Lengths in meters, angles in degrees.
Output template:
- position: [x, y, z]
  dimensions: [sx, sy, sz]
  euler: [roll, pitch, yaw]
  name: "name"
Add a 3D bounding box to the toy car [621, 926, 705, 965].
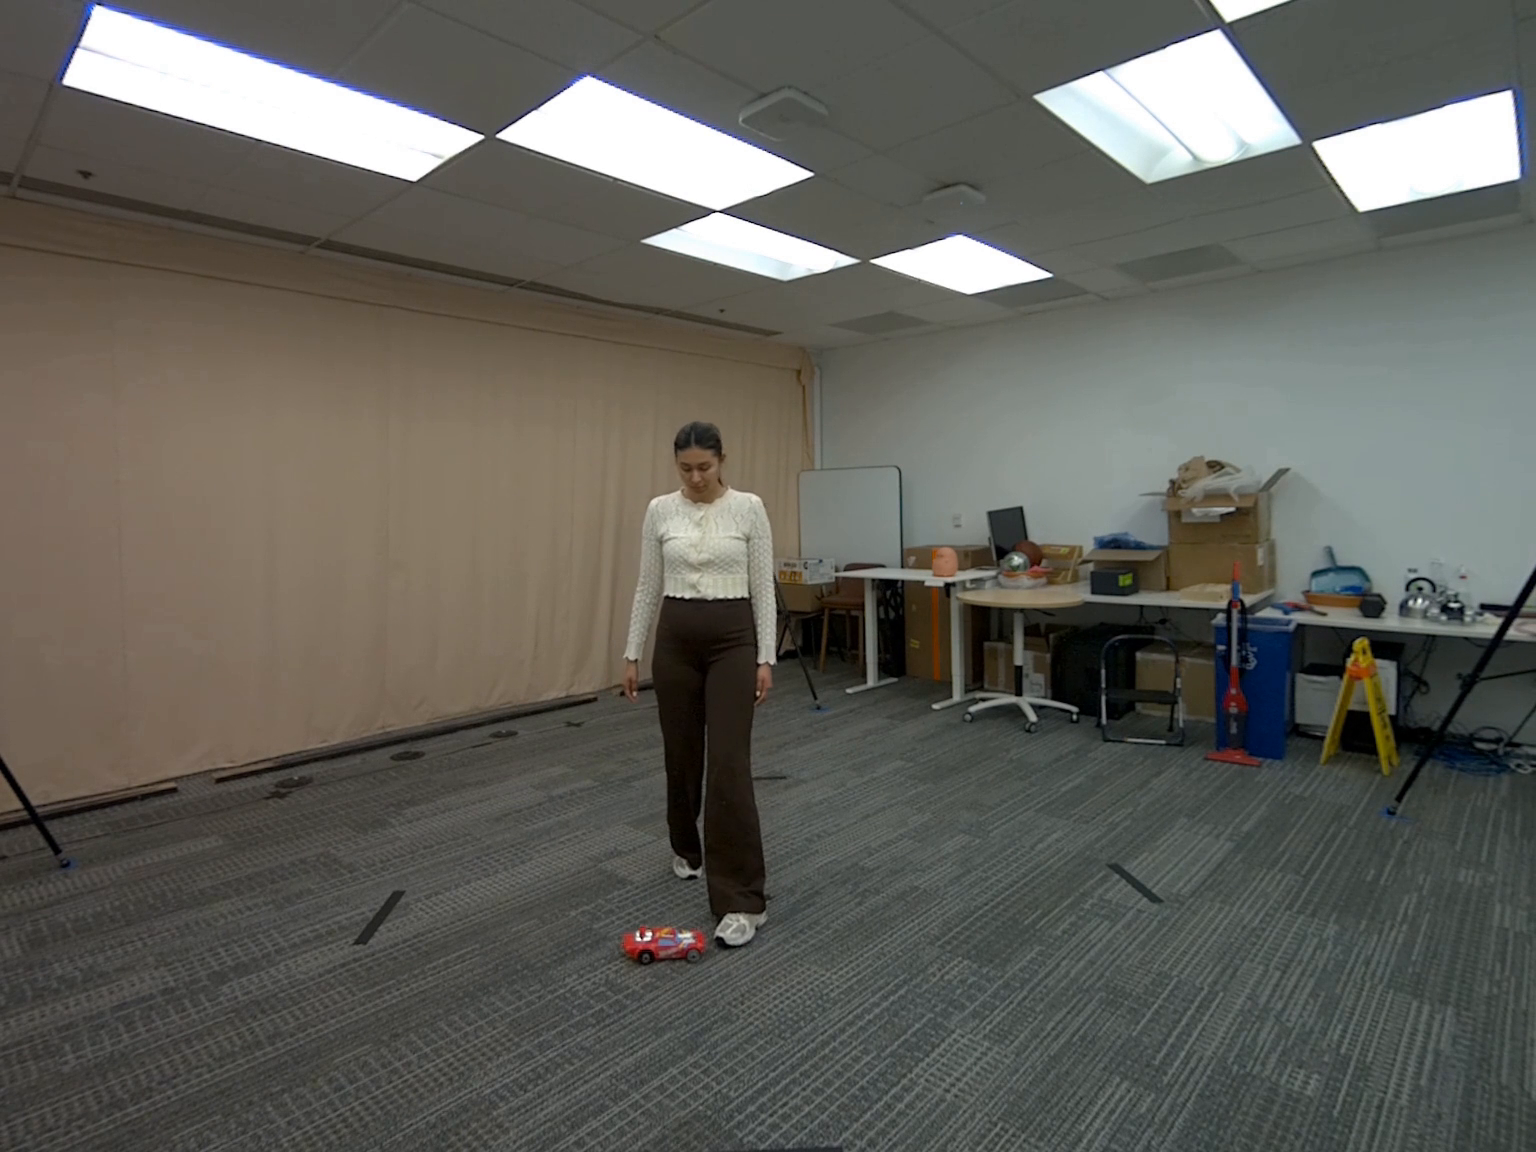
- position: [-0.321, 1.144, 2.613]
  dimensions: [0.254, 0.083, 0.131]
  euler: [9, 3, -3]
  name: "toy car"
